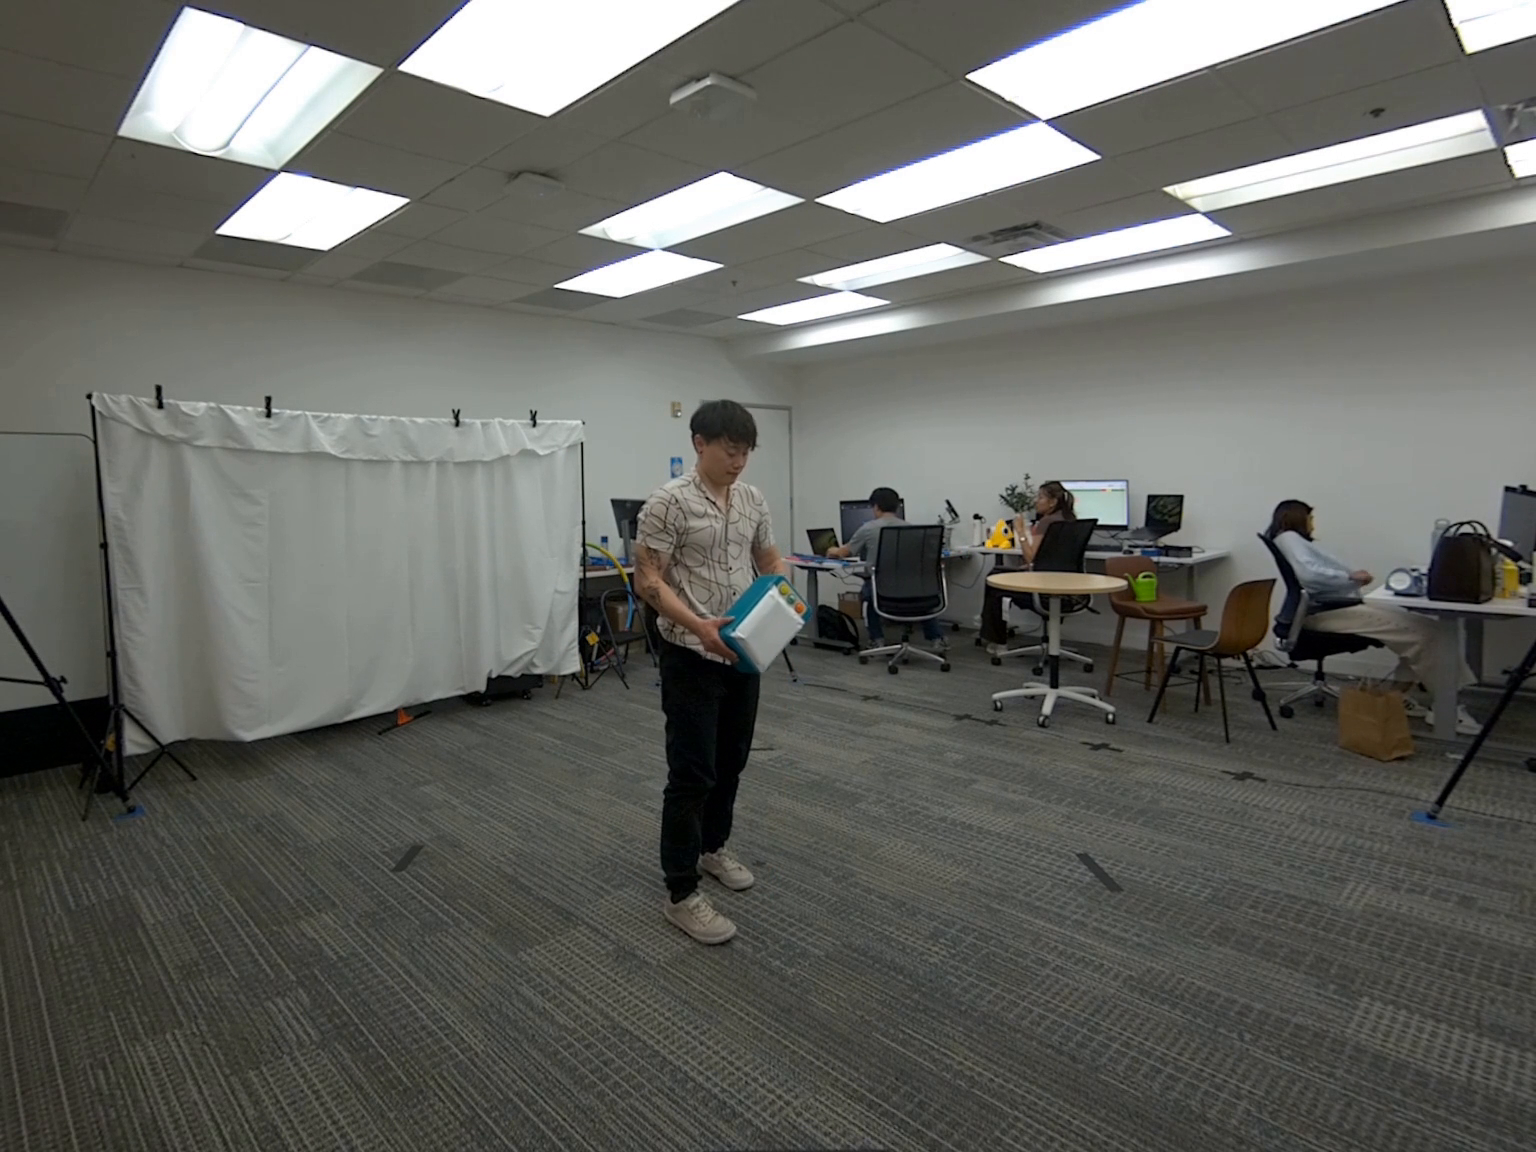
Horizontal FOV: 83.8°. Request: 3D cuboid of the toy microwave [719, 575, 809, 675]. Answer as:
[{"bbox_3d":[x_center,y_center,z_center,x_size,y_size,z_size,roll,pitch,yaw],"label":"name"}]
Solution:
[{"bbox_3d":[-0.026,0.149,2.629,0.286,0.180,0.155,-48,17,-22],"label":"toy microwave"}]
